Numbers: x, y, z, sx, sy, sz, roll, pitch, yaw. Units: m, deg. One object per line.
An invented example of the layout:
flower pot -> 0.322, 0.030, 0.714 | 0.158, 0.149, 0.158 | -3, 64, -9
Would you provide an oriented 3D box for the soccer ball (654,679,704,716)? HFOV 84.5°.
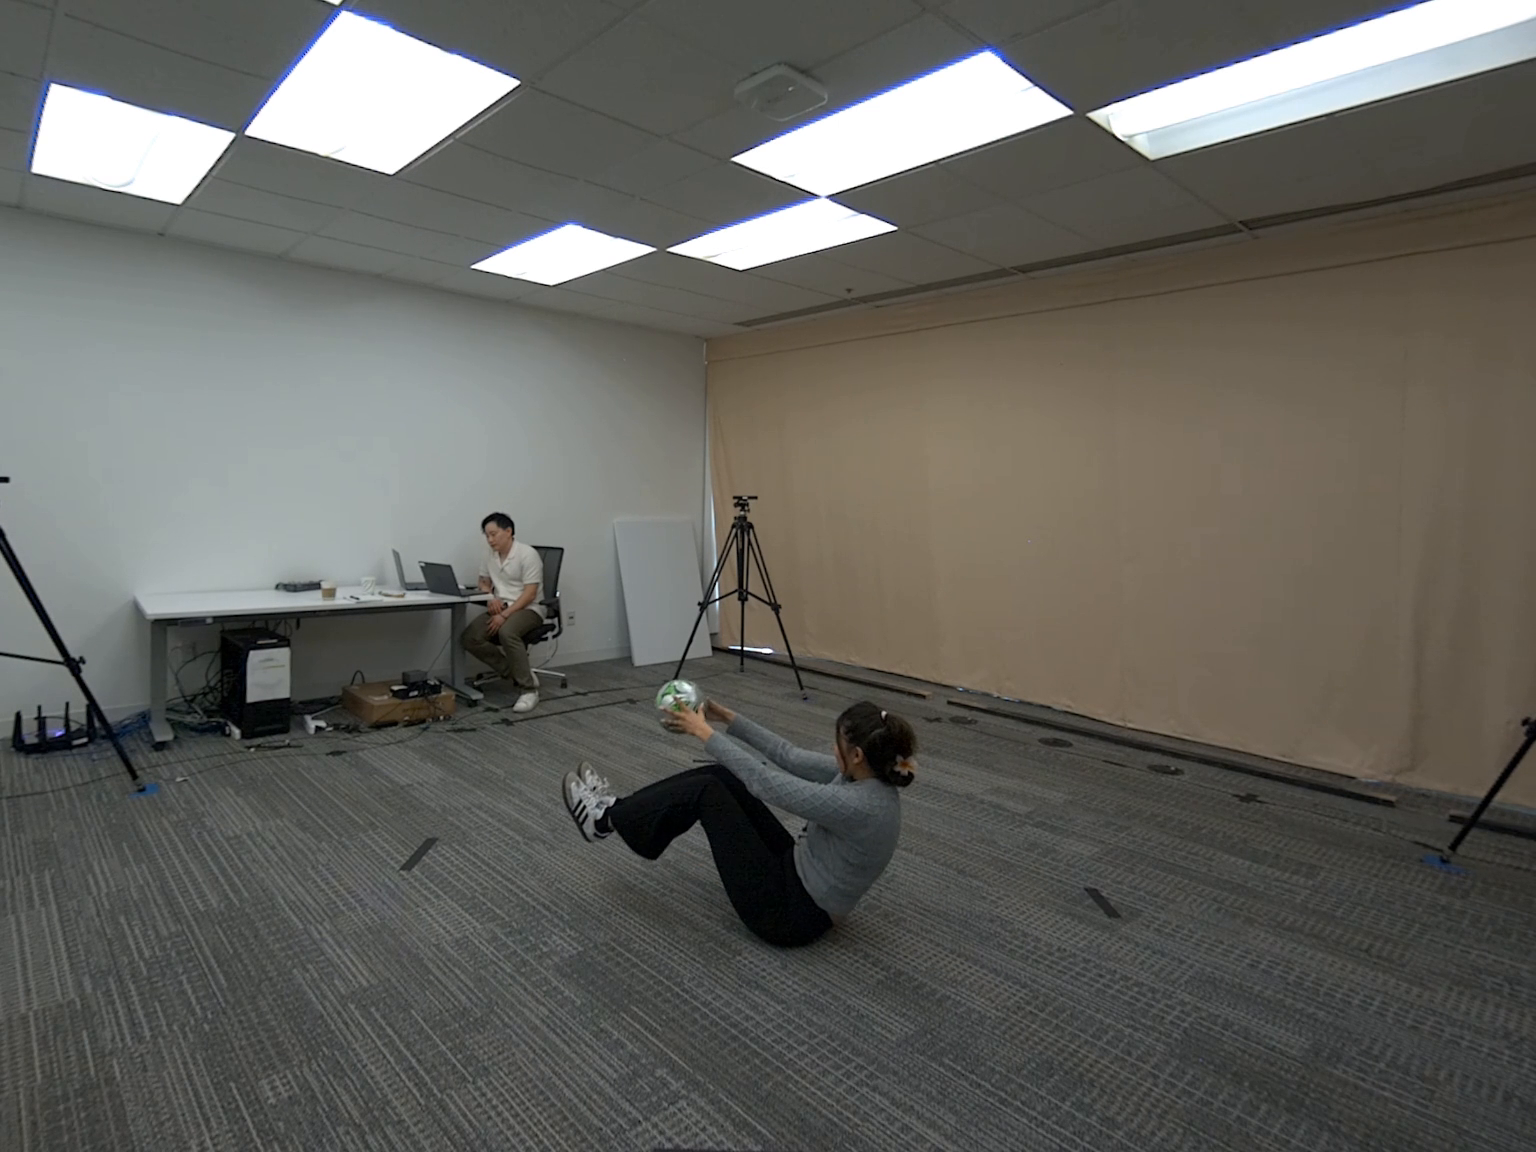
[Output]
soccer ball -> -0.319, 0.463, 2.926 | 0.187, 0.187, 0.188 | 1, 4, -1
